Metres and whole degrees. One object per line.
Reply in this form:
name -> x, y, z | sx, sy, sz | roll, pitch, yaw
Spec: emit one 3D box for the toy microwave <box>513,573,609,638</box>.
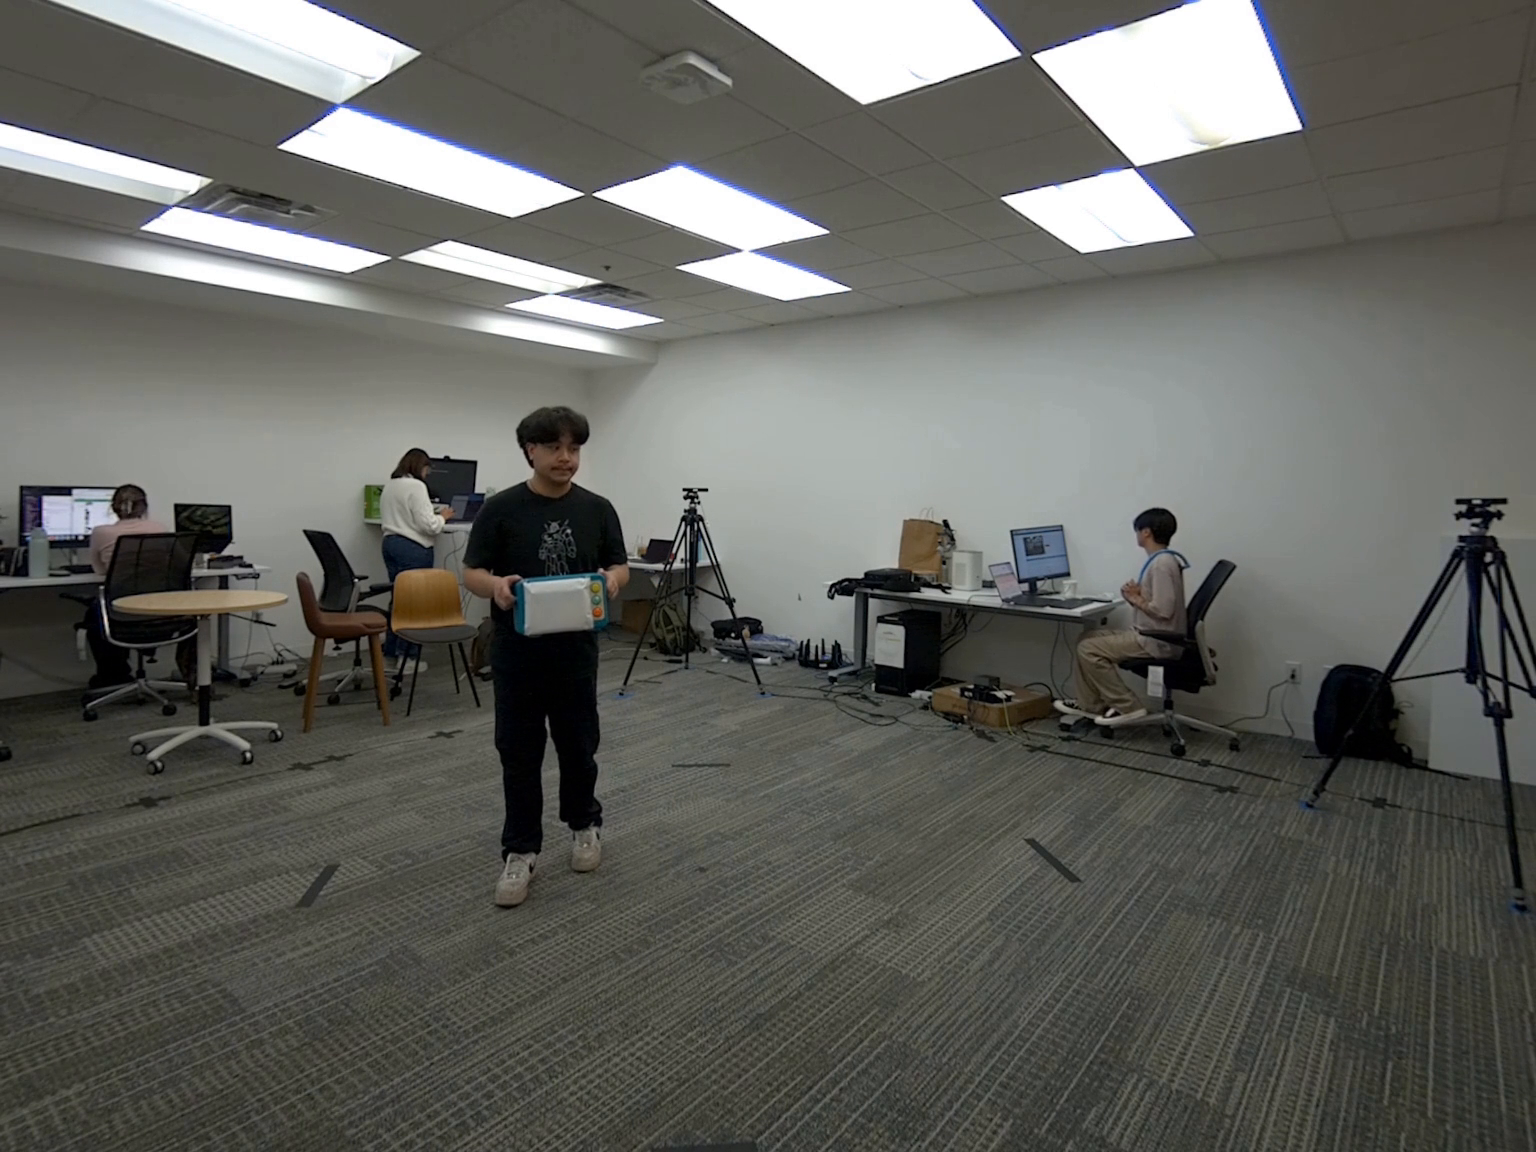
toy microwave -> -0.676, 0.088, 2.725 | 0.280, 0.184, 0.156 | -5, 1, -23
